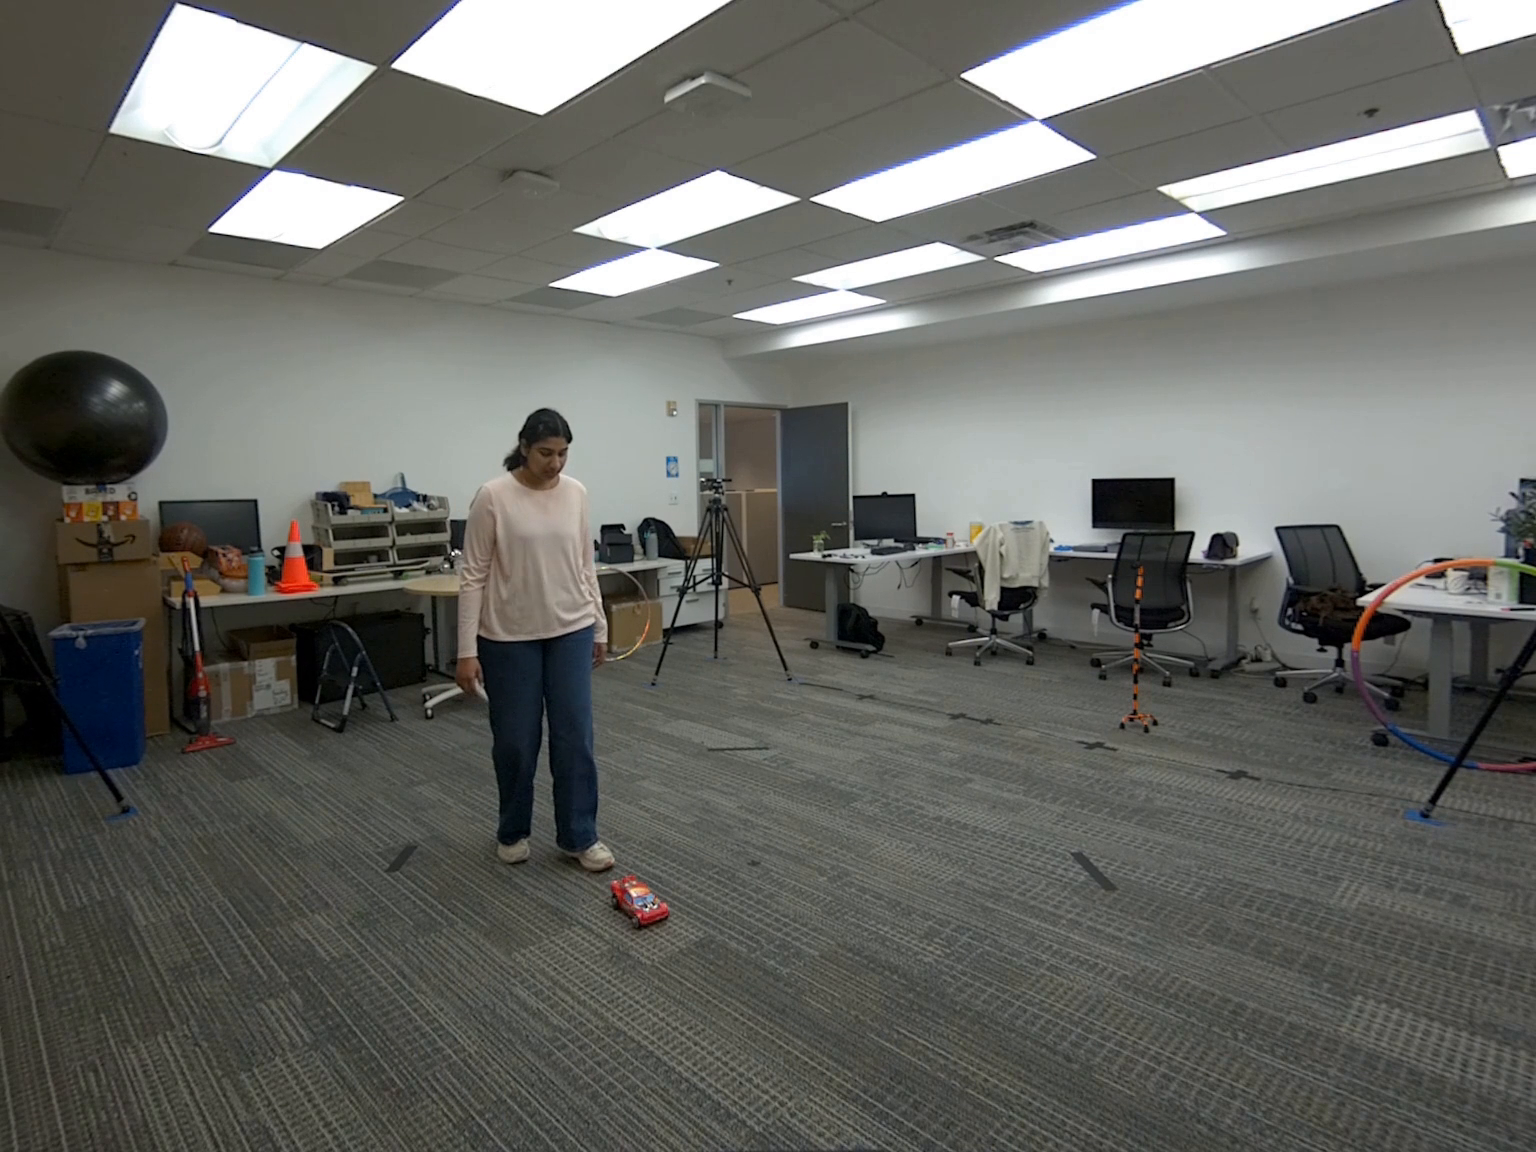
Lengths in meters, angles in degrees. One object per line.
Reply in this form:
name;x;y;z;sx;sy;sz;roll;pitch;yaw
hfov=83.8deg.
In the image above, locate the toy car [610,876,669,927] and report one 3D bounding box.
toy car;-0.425;1.061;2.776;0.127;0.082;0.264;-5;18;-33
